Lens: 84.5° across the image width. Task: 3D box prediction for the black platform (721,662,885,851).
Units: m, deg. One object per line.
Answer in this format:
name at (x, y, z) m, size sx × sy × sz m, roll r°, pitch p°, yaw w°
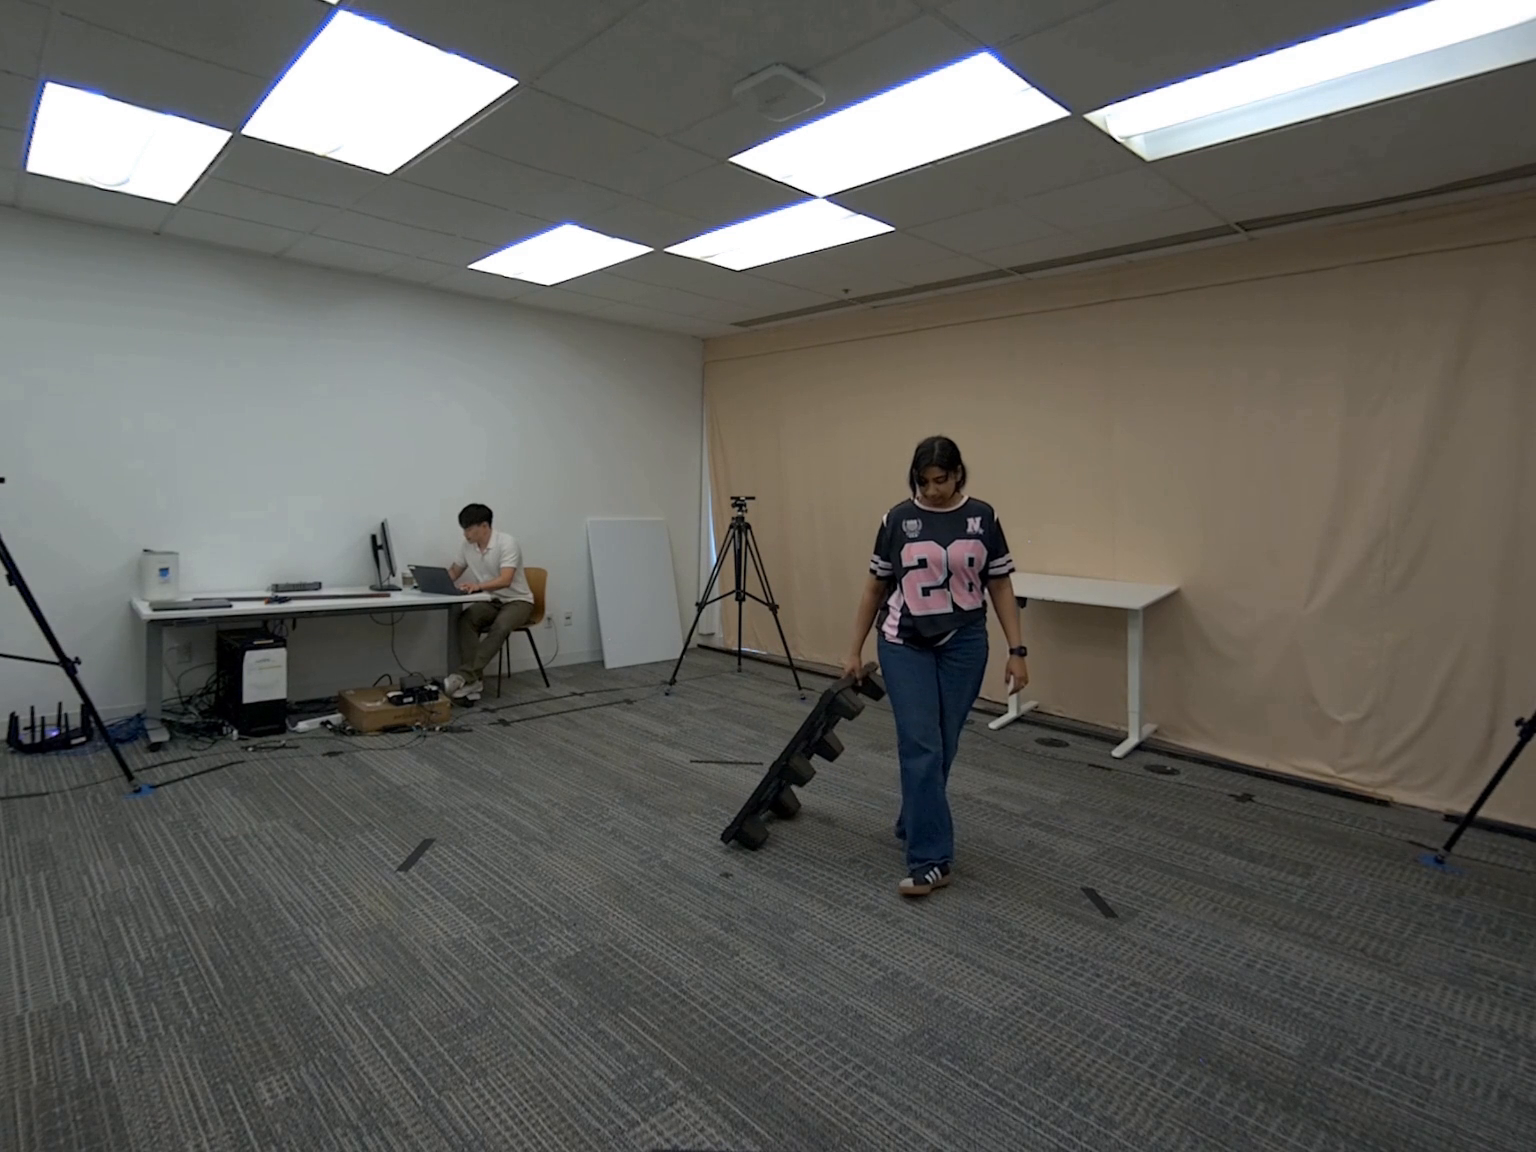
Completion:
black platform at (0.171, 0.743, 3.457) m, size 0.146 × 0.803 × 0.595 m, roll 38°, pitch 16°, yaw 17°
